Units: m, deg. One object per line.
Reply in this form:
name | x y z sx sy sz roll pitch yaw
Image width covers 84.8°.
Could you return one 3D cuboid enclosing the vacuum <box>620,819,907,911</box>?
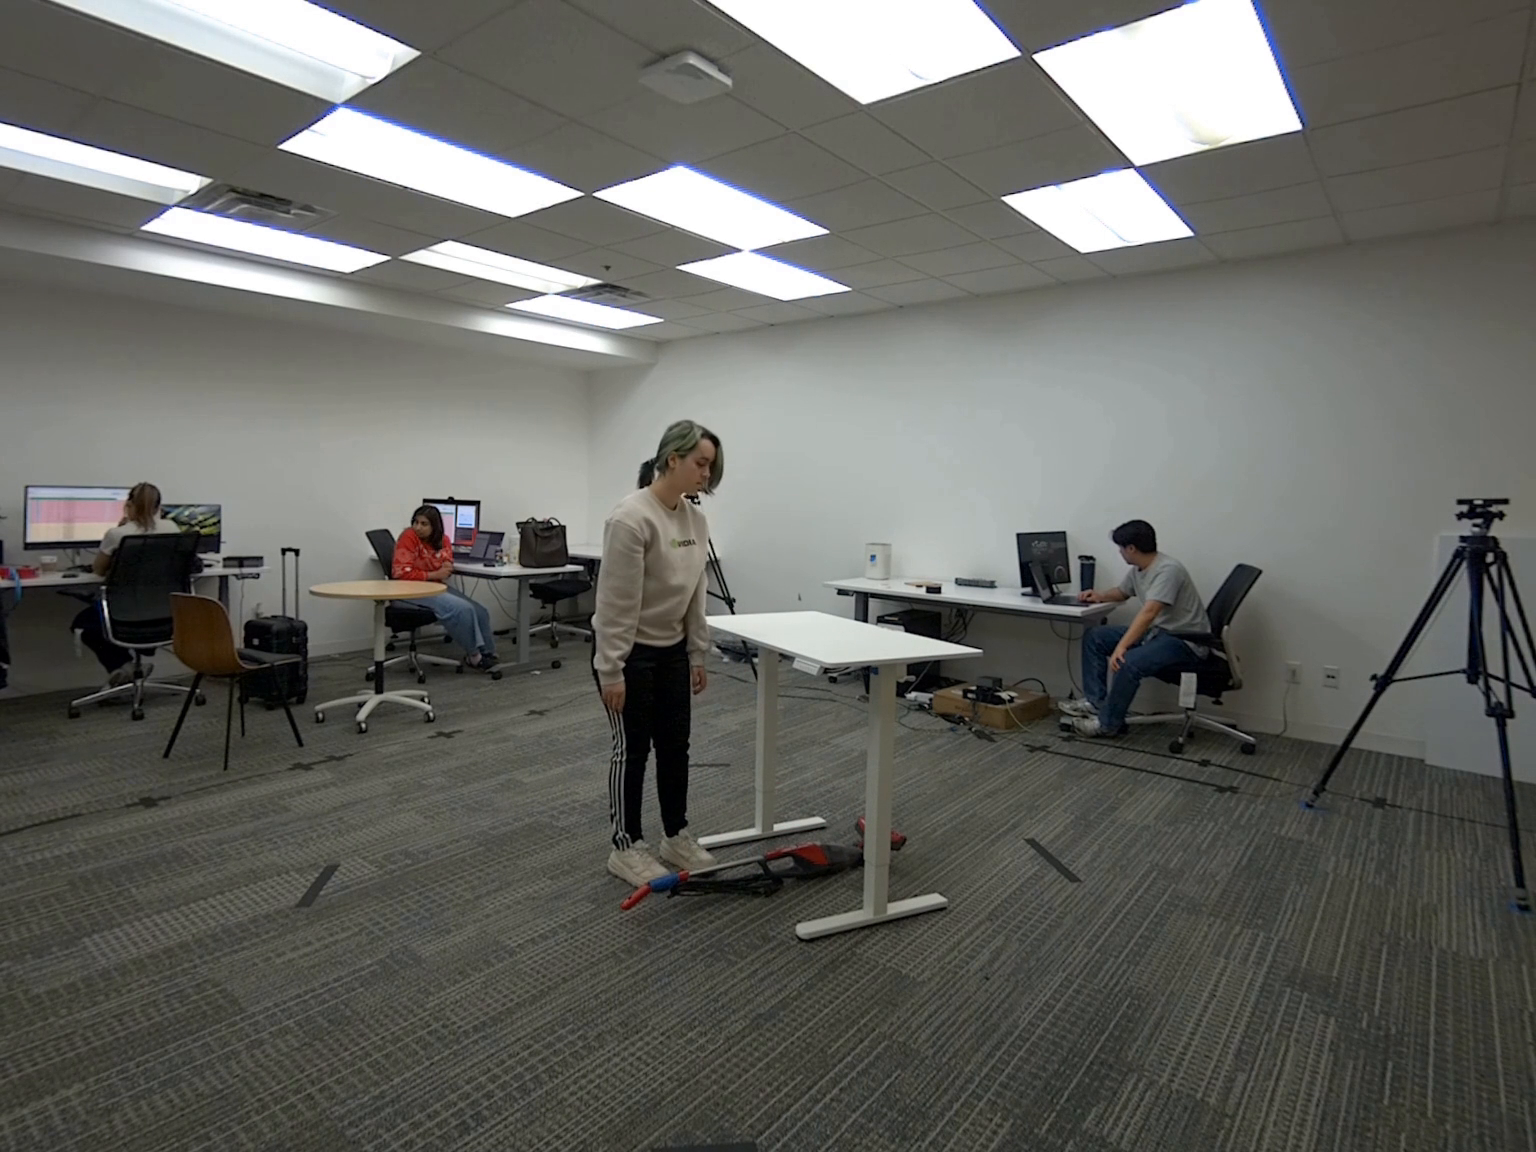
vacuum | -0.023 1.030 2.956 1.021 0.143 0.261 -4 8 -31
